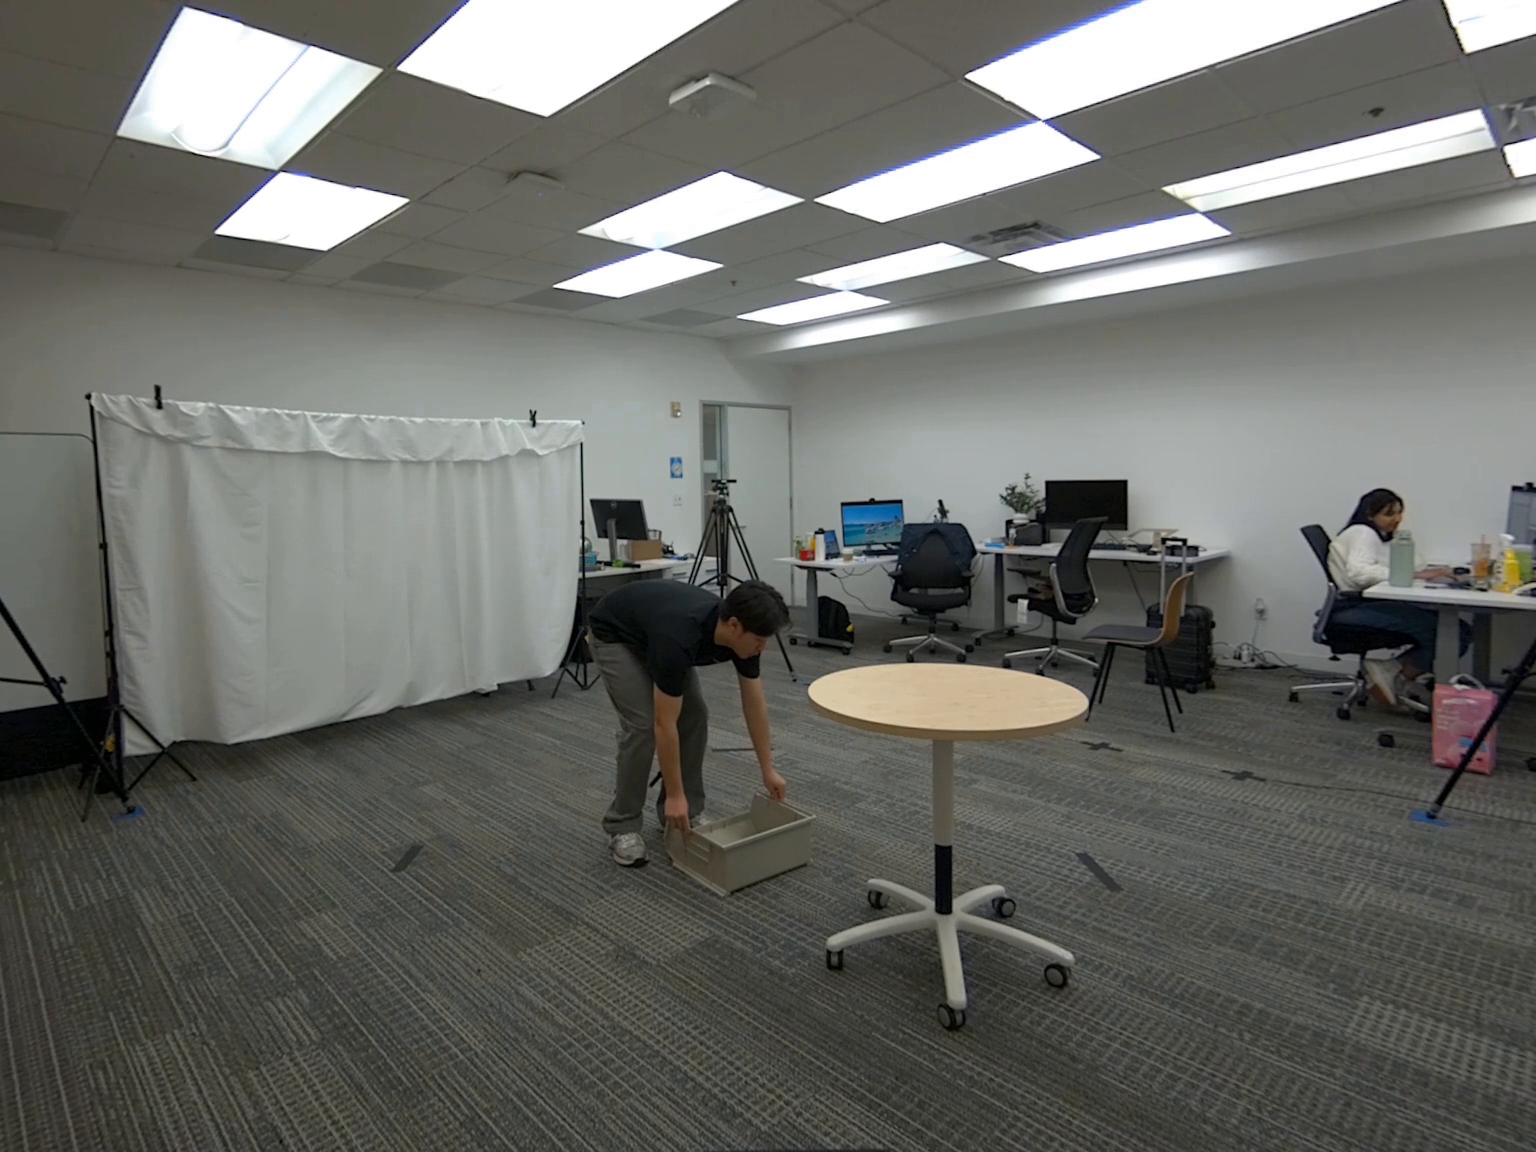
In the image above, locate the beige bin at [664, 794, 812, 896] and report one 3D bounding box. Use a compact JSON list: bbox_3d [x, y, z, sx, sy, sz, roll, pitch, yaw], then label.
[{"bbox_3d":[-0.102,0.956,3.114,0.411,0.188,0.389,-5,8,-38],"label":"beige bin"}]
